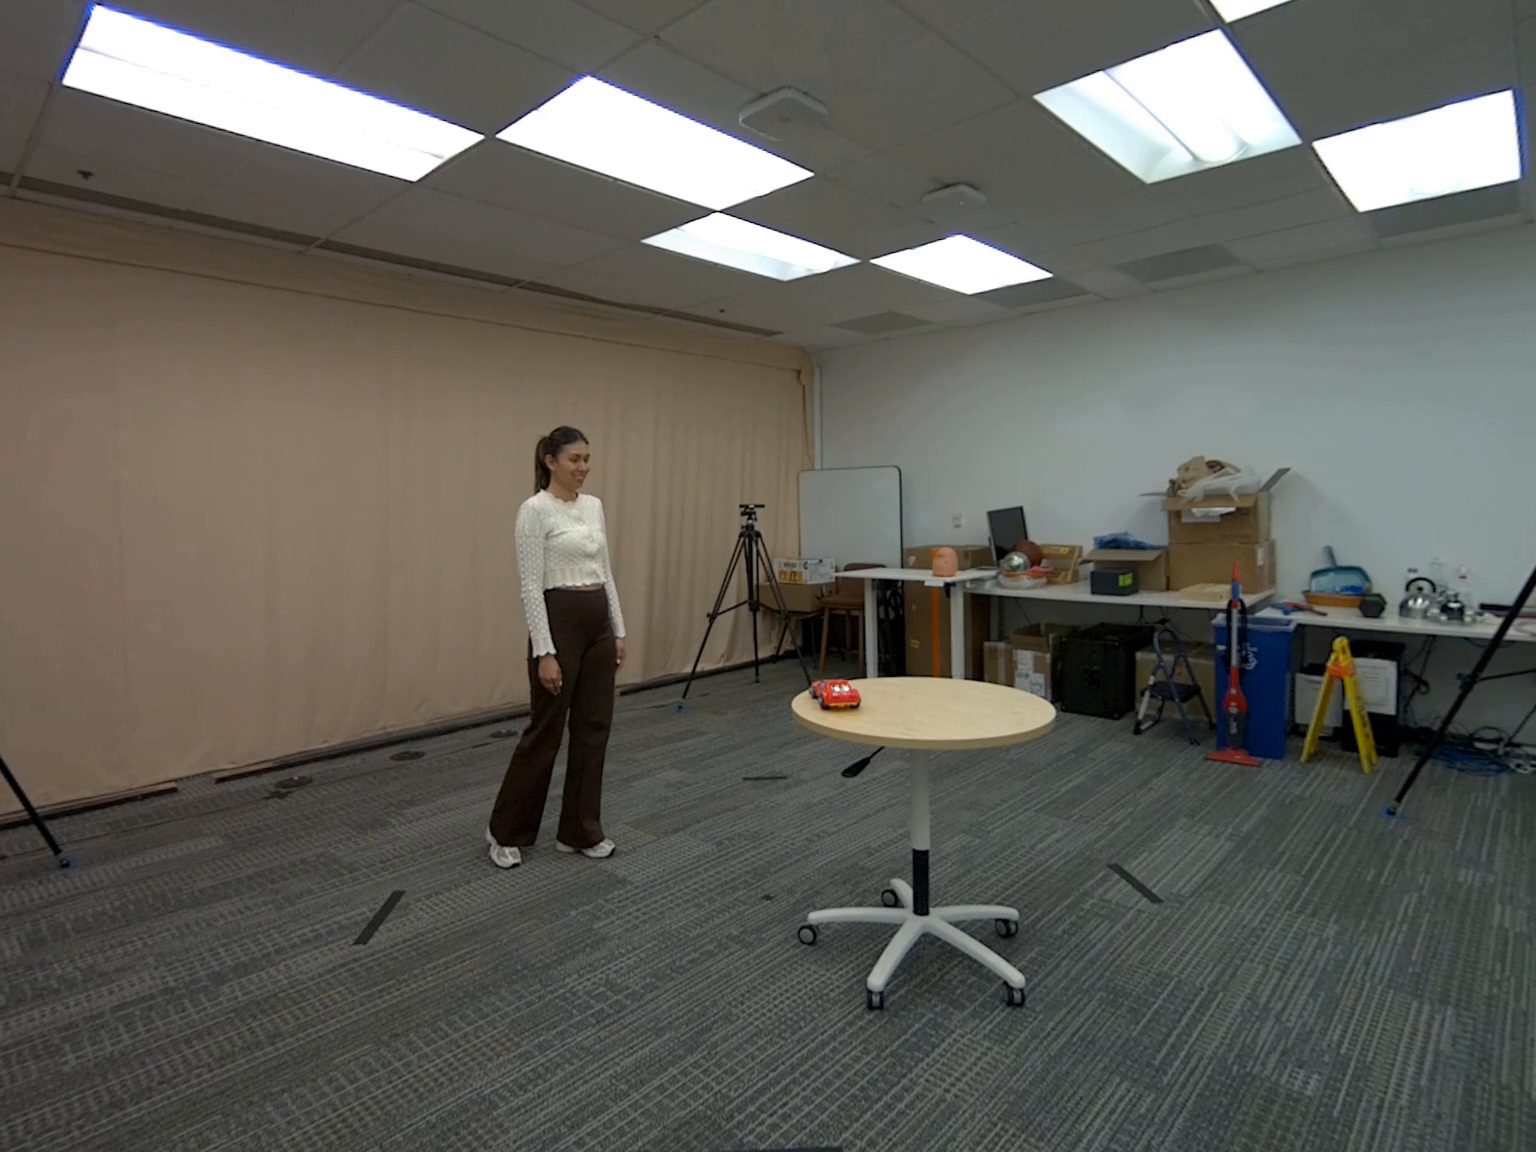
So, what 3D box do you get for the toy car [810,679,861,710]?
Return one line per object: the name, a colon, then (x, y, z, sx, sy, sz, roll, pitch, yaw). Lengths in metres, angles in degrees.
toy car: (0.211, 0.358, 2.536, 0.130, 0.084, 0.254, -3, -8, -5)
